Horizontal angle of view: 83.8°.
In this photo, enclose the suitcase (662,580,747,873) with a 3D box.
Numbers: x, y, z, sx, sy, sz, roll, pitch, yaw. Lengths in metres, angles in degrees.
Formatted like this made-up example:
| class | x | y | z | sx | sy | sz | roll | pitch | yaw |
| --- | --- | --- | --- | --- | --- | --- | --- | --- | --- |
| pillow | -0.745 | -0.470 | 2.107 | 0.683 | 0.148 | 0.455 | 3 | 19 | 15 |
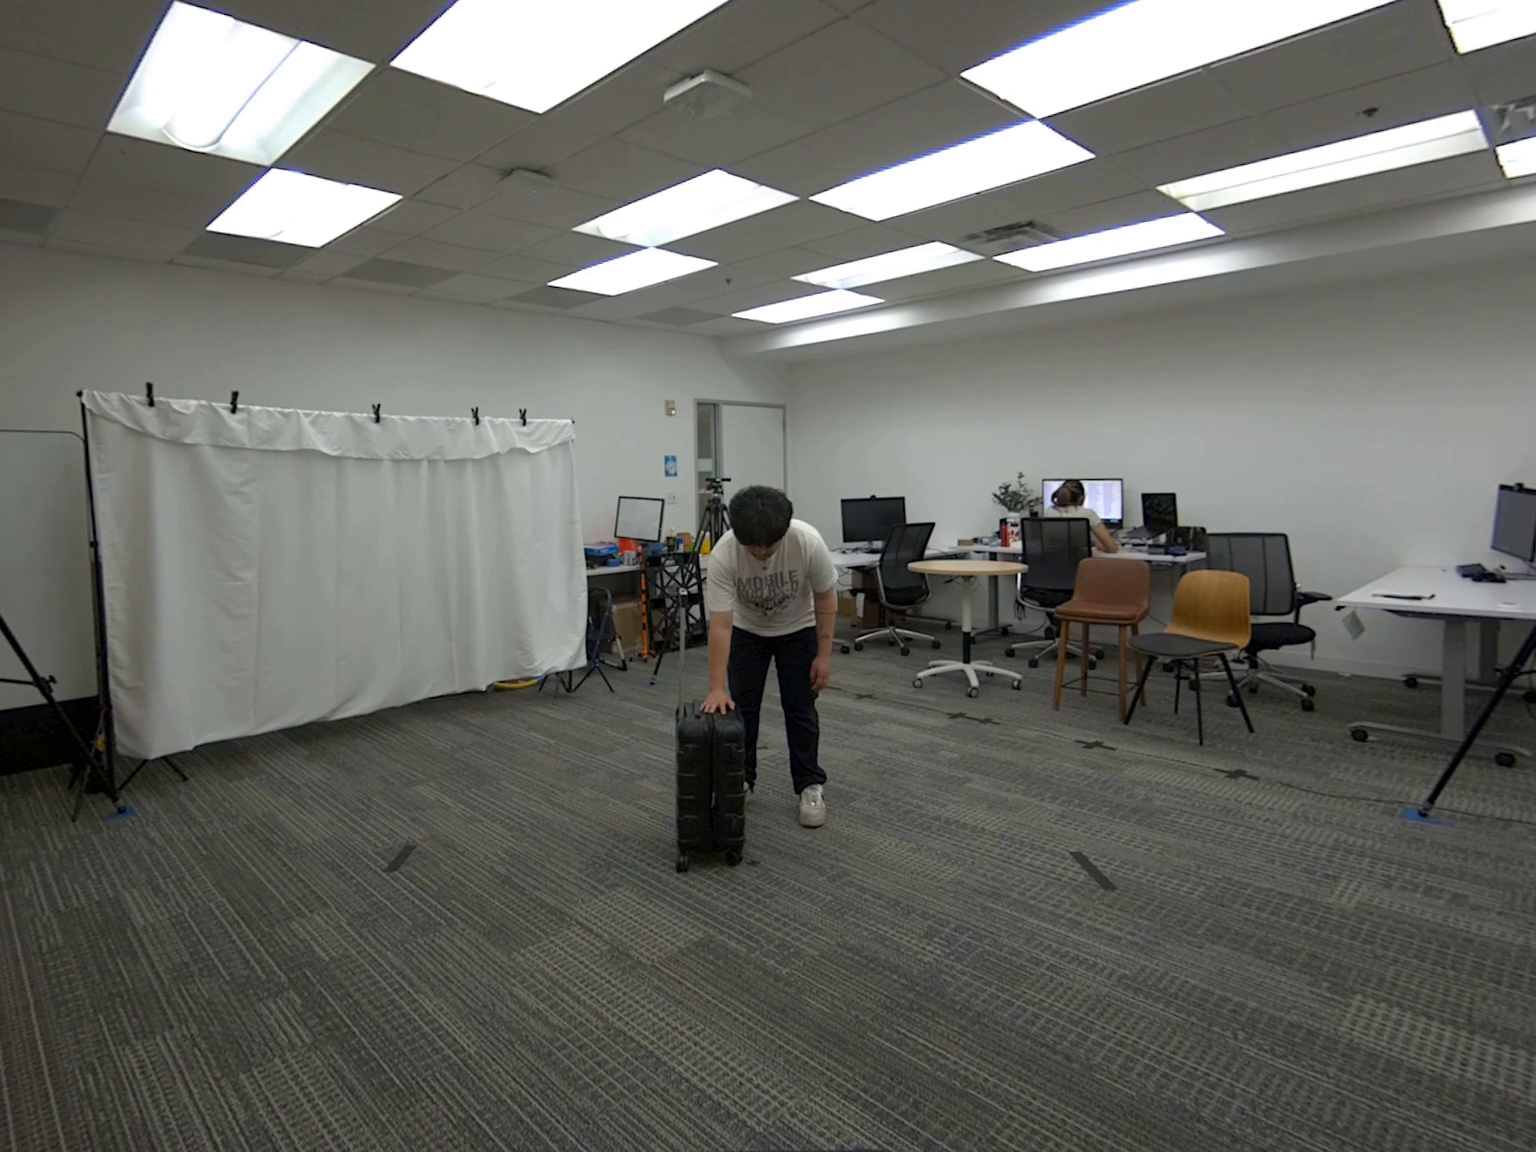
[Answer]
| class | x | y | z | sx | sy | sz | roll | pitch | yaw |
| --- | --- | --- | --- | --- | --- | --- | --- | --- | --- |
| suitcase | -0.217 | 0.560 | 3.201 | 0.256 | 0.976 | 0.387 | 2 | 4 | -5 |
